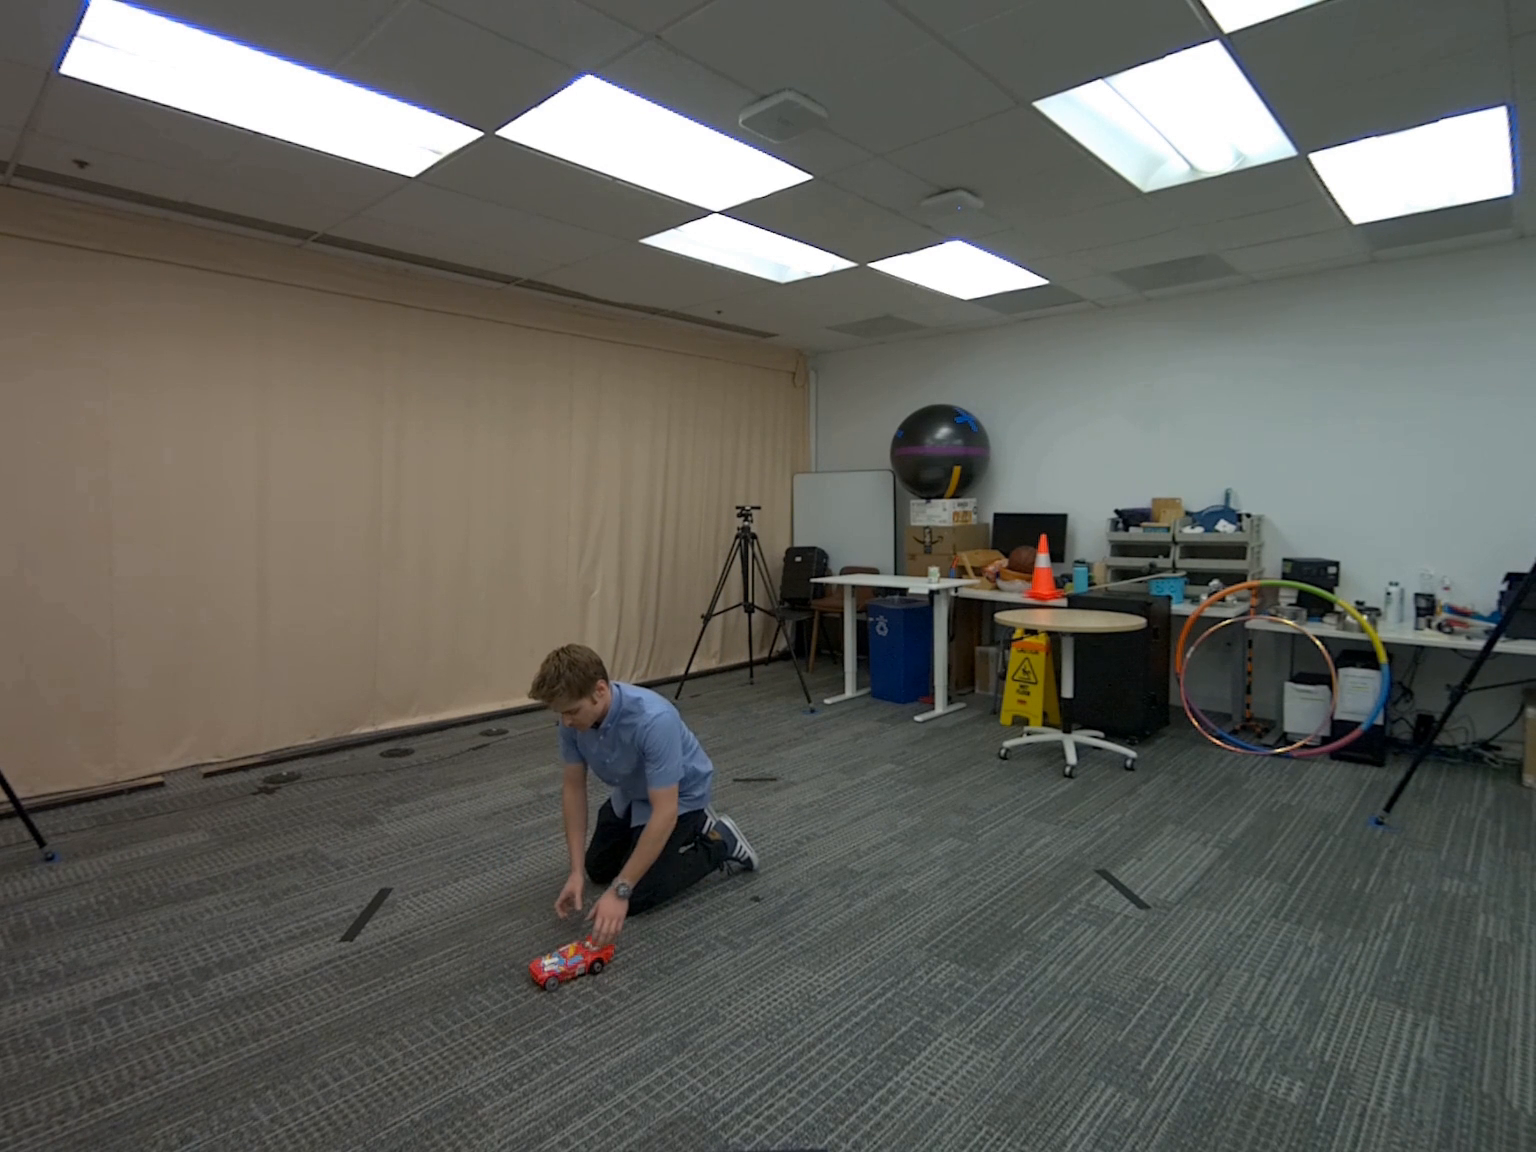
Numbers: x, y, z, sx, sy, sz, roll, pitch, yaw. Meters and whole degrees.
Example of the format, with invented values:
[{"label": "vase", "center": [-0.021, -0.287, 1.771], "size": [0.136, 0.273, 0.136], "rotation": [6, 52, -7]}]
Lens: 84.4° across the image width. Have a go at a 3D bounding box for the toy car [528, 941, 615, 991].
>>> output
[{"label": "toy car", "center": [-0.585, 1.151, 2.521], "size": [0.248, 0.082, 0.134], "rotation": [-17, 13, -34]}]
